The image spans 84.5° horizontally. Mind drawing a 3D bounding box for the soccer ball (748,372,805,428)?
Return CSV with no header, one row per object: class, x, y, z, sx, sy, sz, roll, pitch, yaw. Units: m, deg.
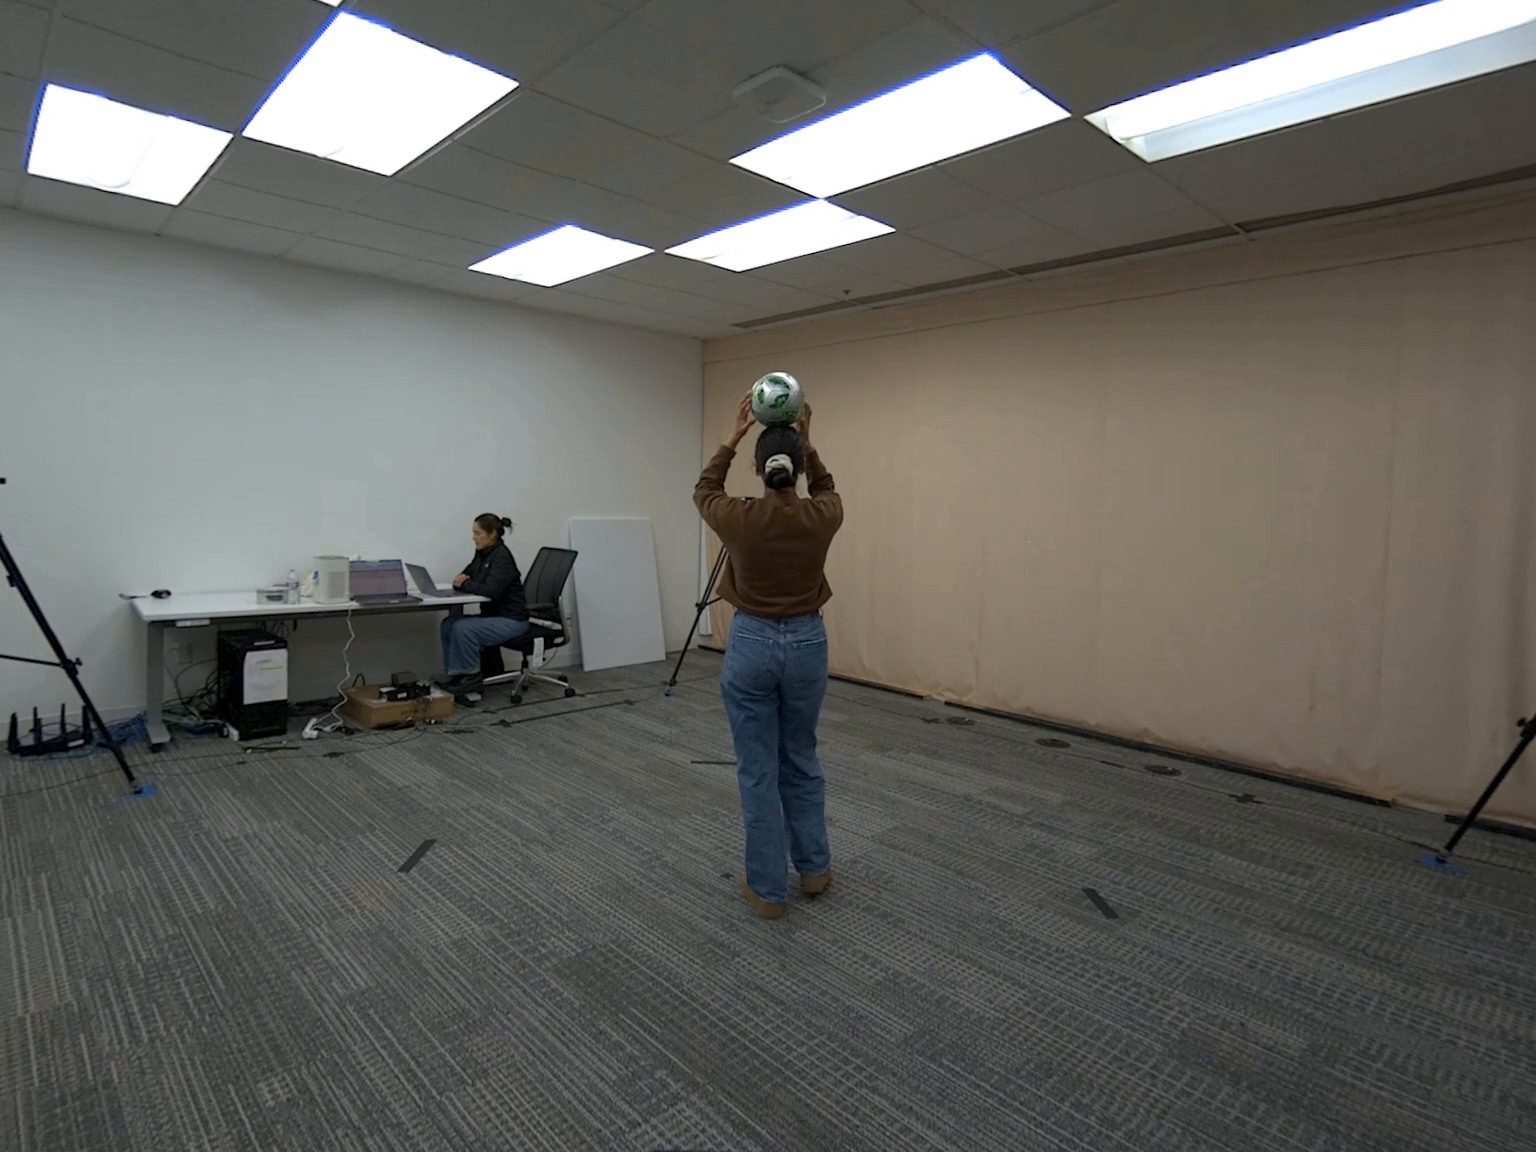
soccer ball,0.026,-0.586,2.834,0.187,0.187,0.188,1,4,-1
